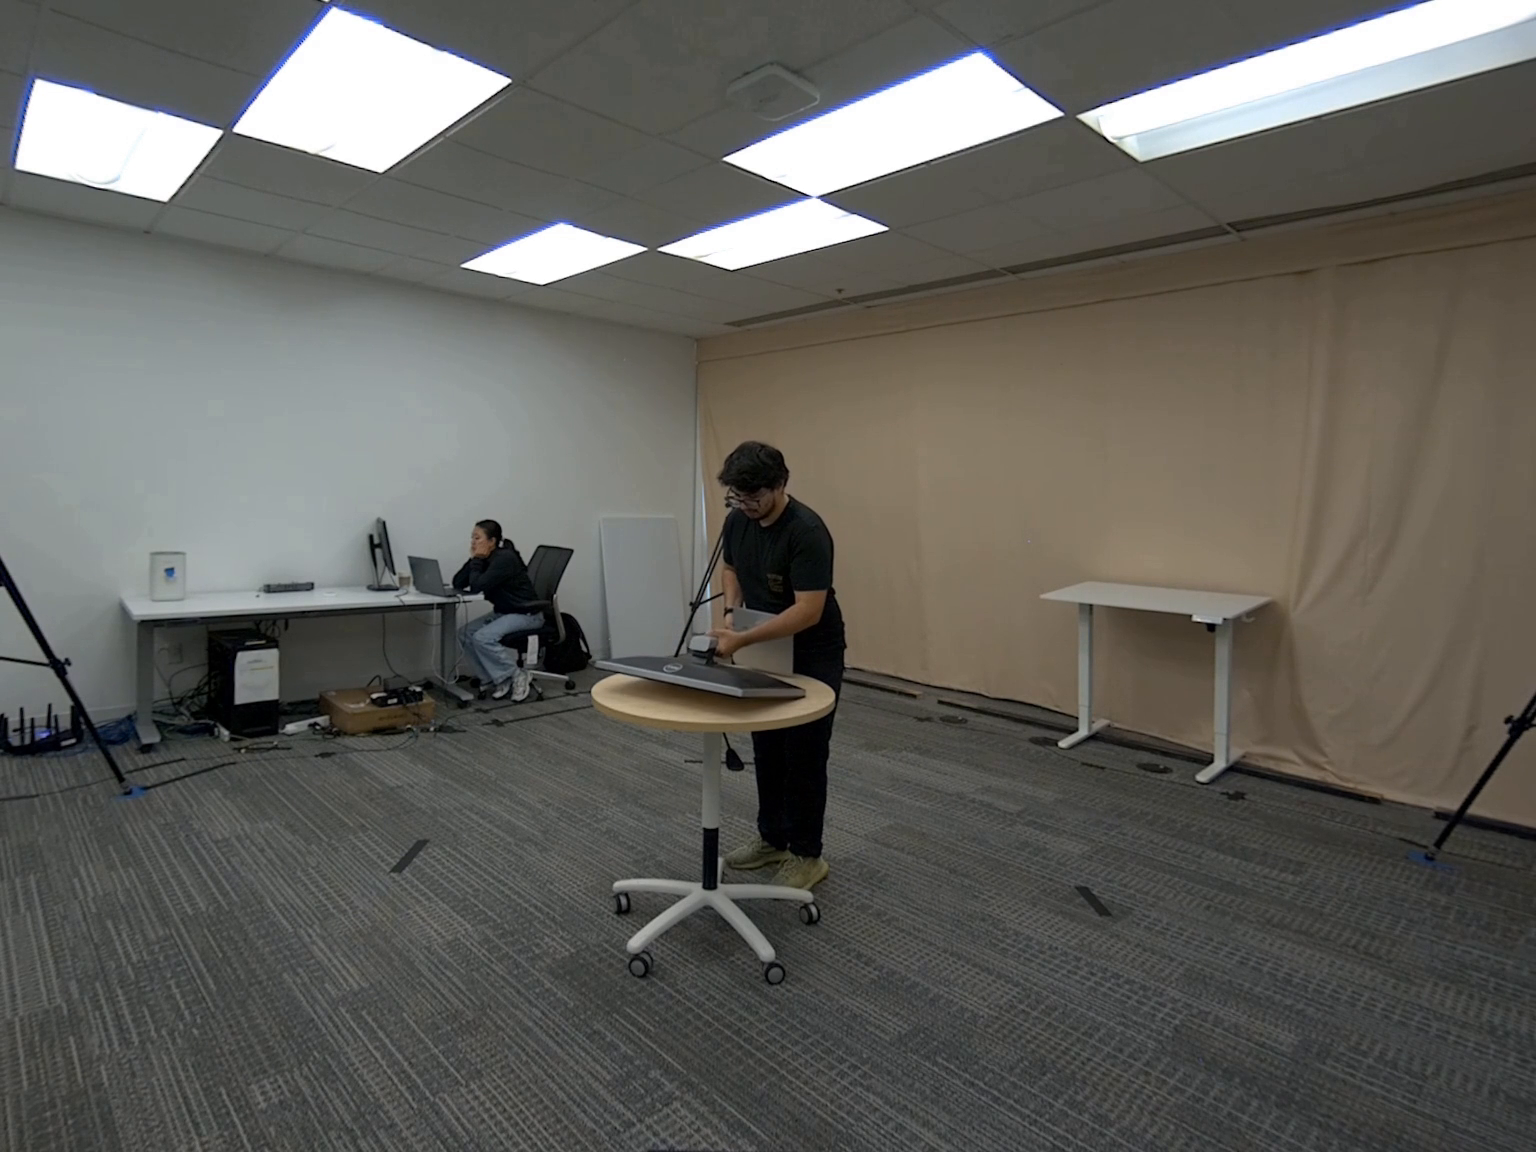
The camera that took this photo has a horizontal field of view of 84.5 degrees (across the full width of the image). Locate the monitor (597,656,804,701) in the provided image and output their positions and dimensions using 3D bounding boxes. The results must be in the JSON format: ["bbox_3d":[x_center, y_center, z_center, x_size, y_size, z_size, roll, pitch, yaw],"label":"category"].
[{"bbox_3d":[-0.168,0.243,2.670,0.579,0.210,0.542,6,4,34],"label":"monitor"}]
